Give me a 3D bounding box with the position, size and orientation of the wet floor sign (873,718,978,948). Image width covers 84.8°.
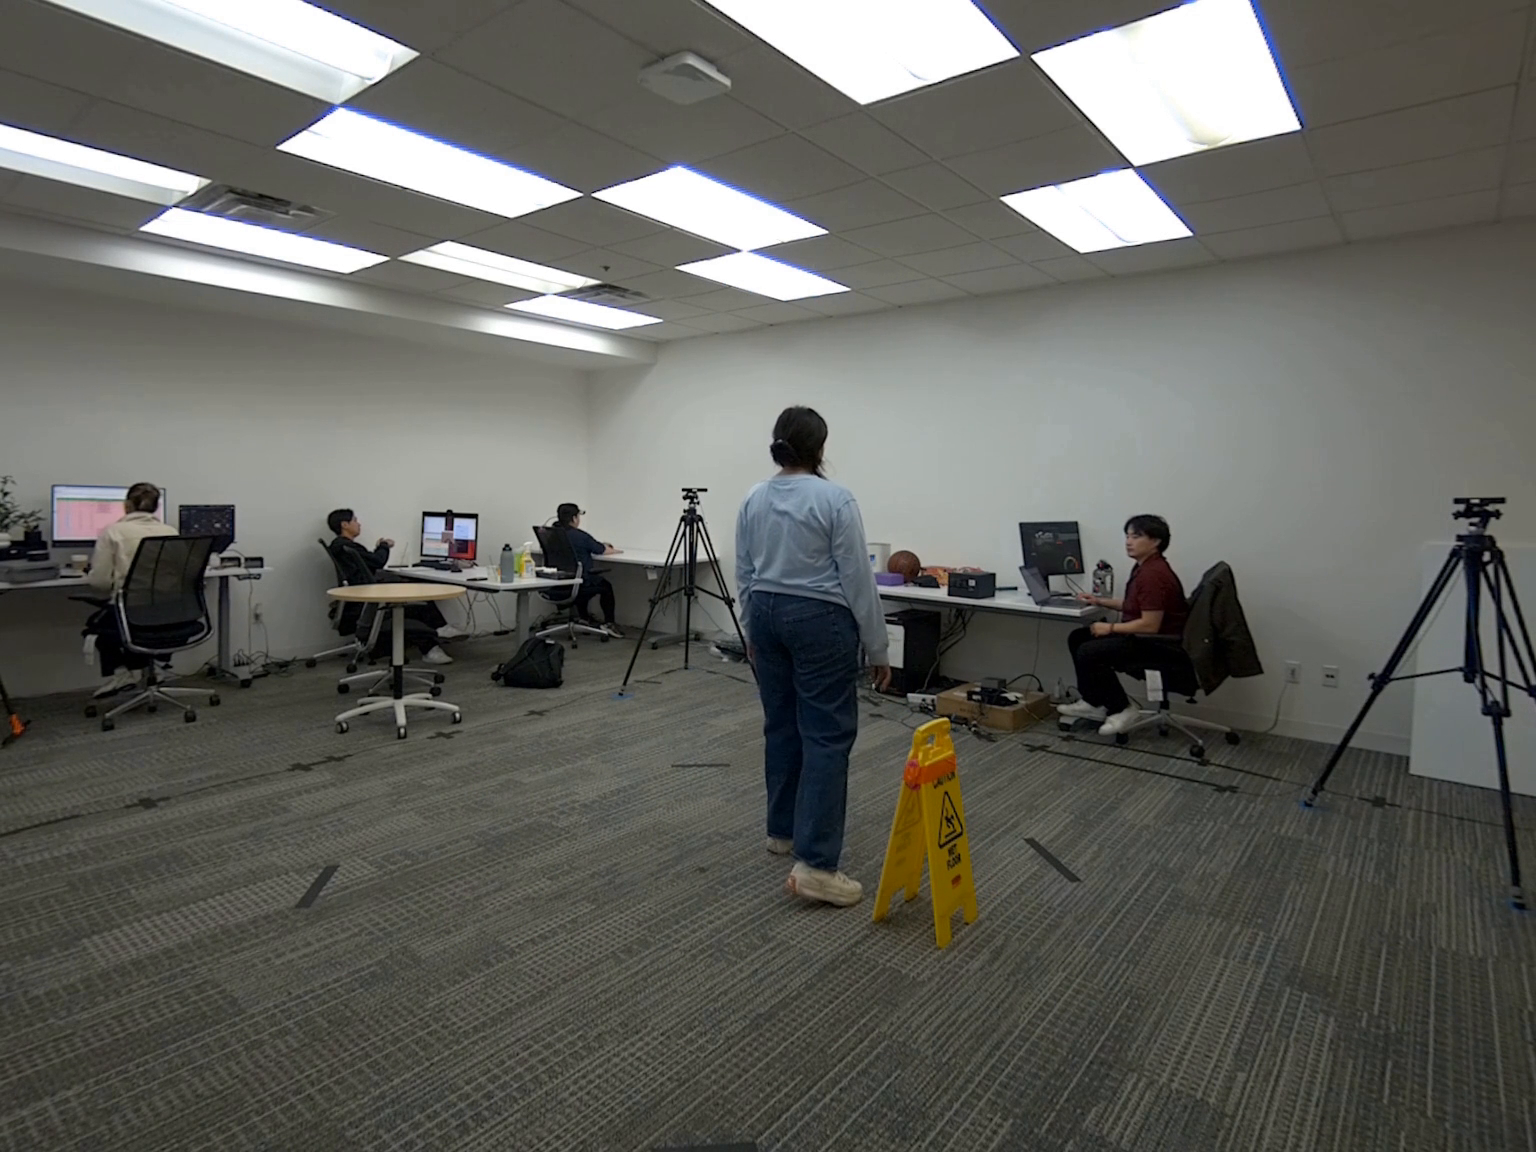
[{"bbox_3d":[0.519,0.795,2.767,0.299,0.644,0.274,5,5,39],"label":"wet floor sign"}]
